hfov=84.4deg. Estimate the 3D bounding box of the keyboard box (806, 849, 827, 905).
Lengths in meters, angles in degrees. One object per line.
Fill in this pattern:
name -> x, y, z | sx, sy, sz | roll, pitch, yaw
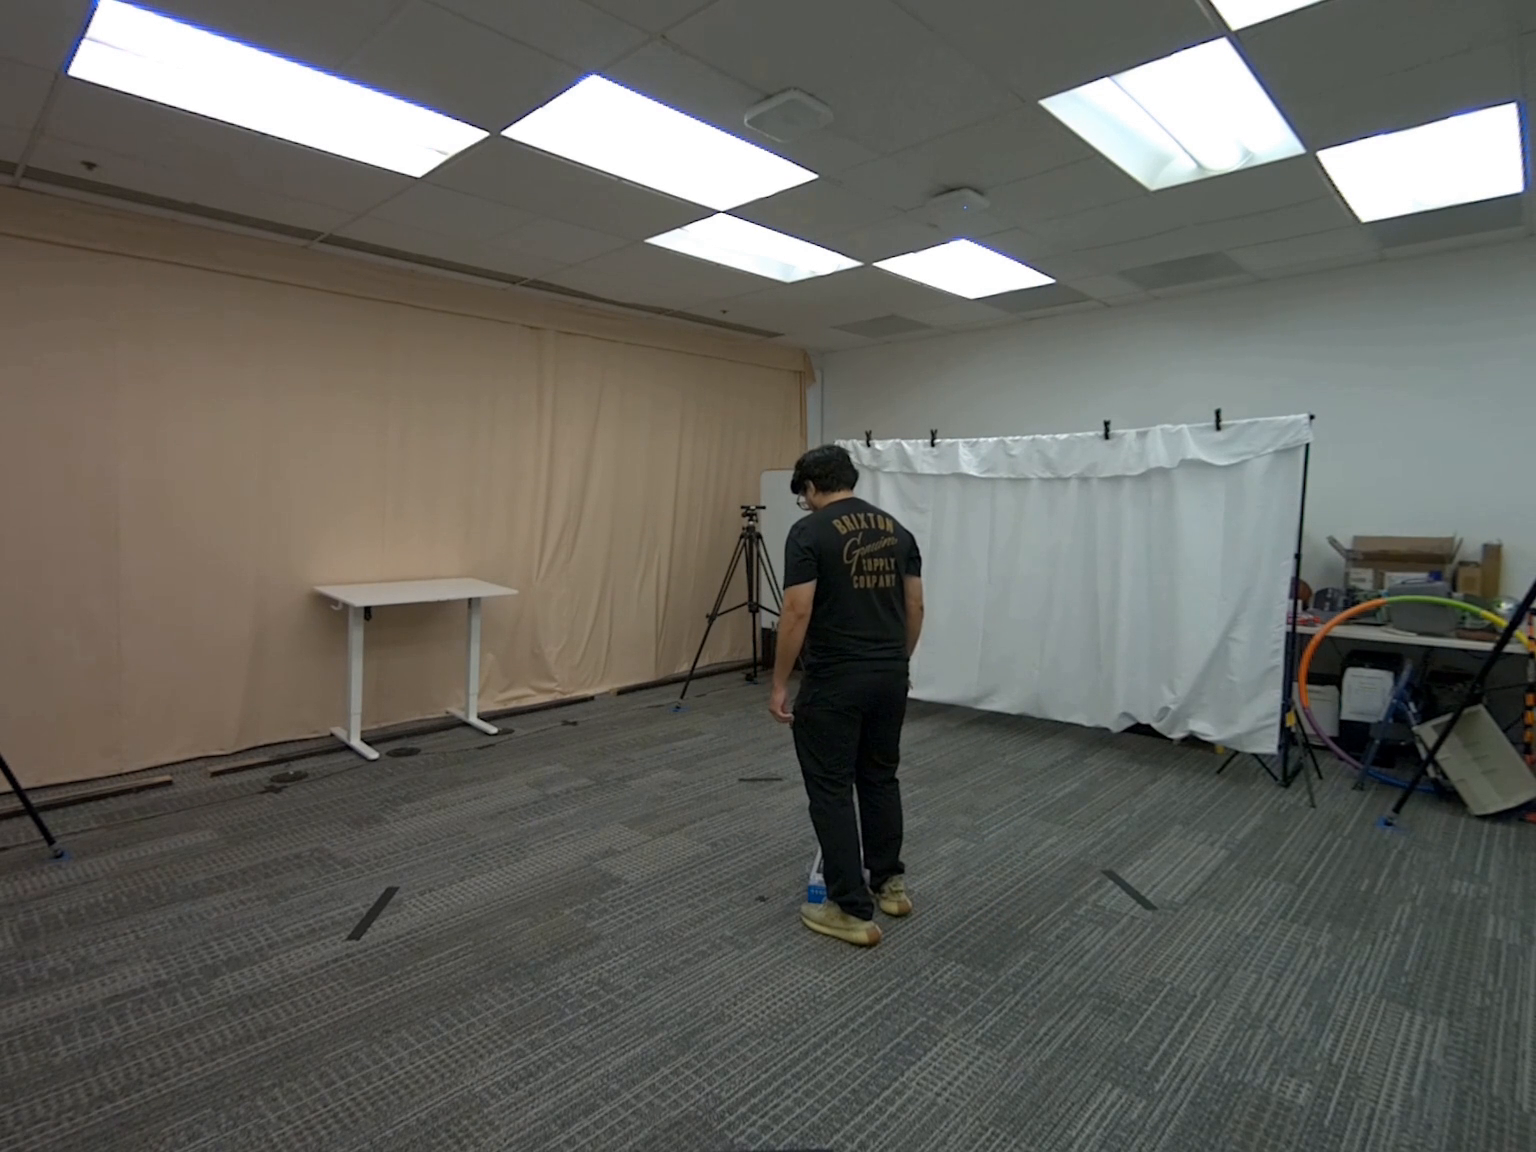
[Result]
keyboard box -> 0.270, 1.100, 3.140 | 0.178, 0.059, 0.432 | 2, 6, 11
